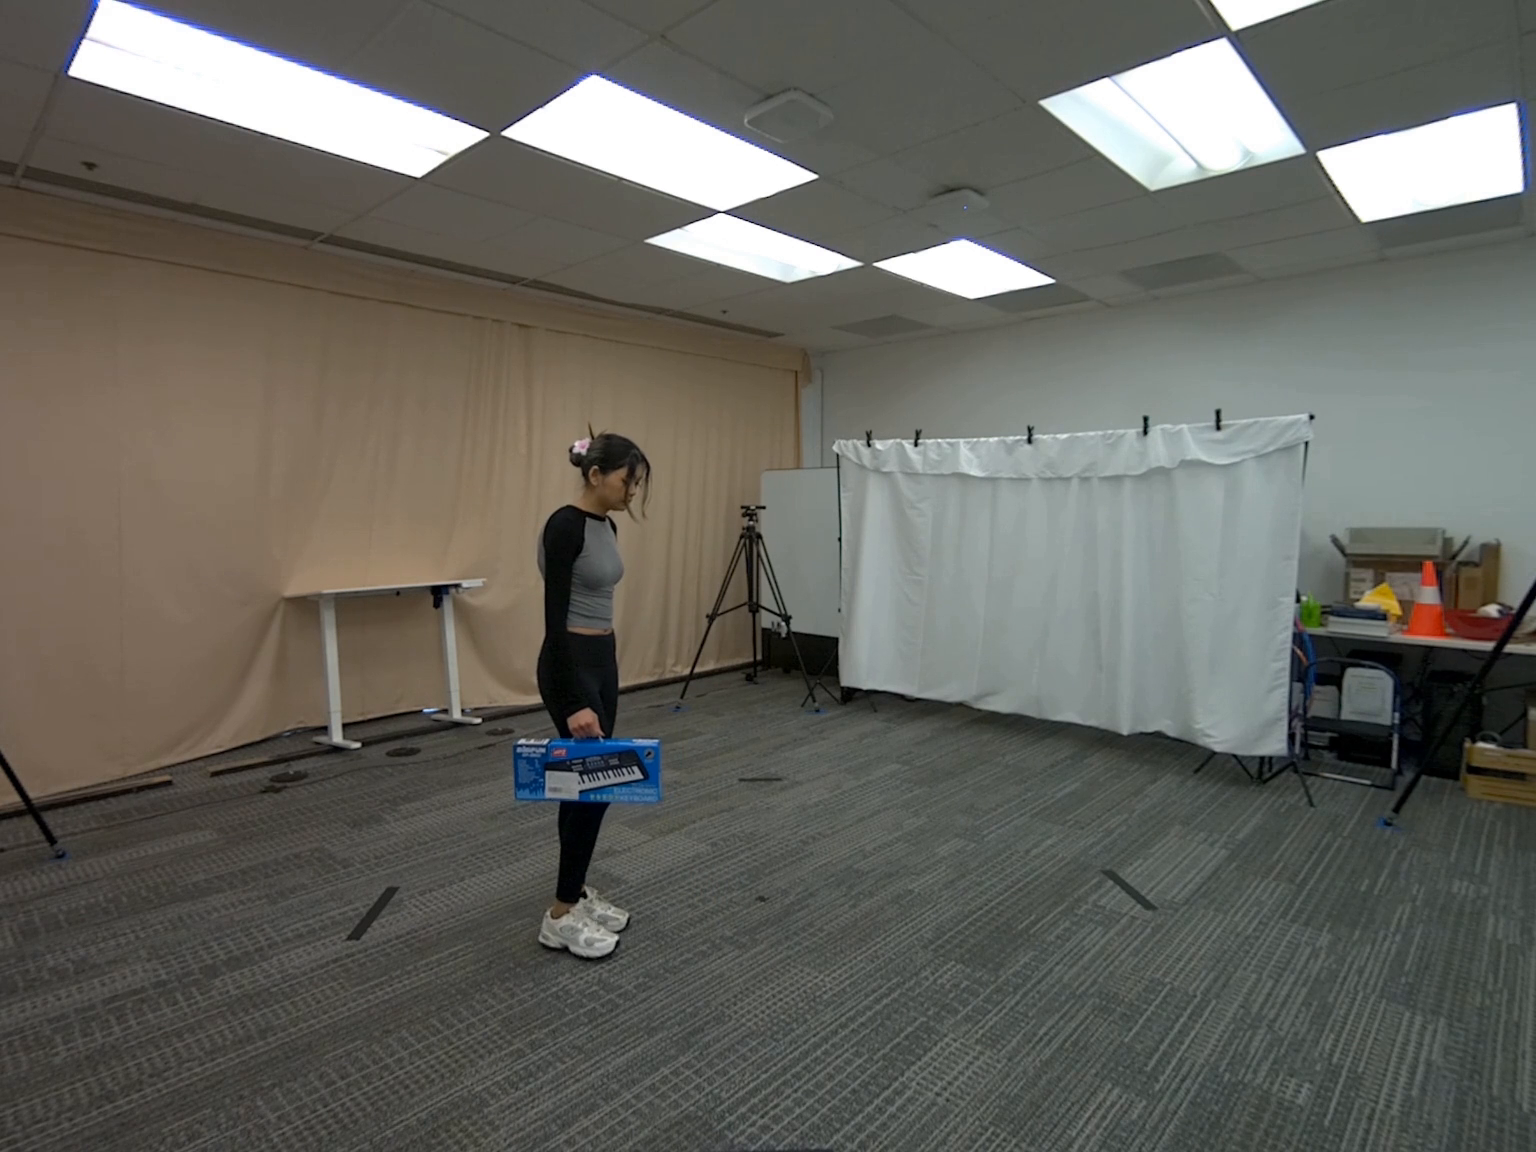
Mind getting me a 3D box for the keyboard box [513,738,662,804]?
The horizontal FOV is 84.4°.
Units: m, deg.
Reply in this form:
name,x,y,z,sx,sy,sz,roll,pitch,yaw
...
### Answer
name,x,y,z,sx,sy,sz,roll,pitch,yaw
keyboard box,-0.534,0.572,2.498,0.440,0.175,0.059,0,5,8
